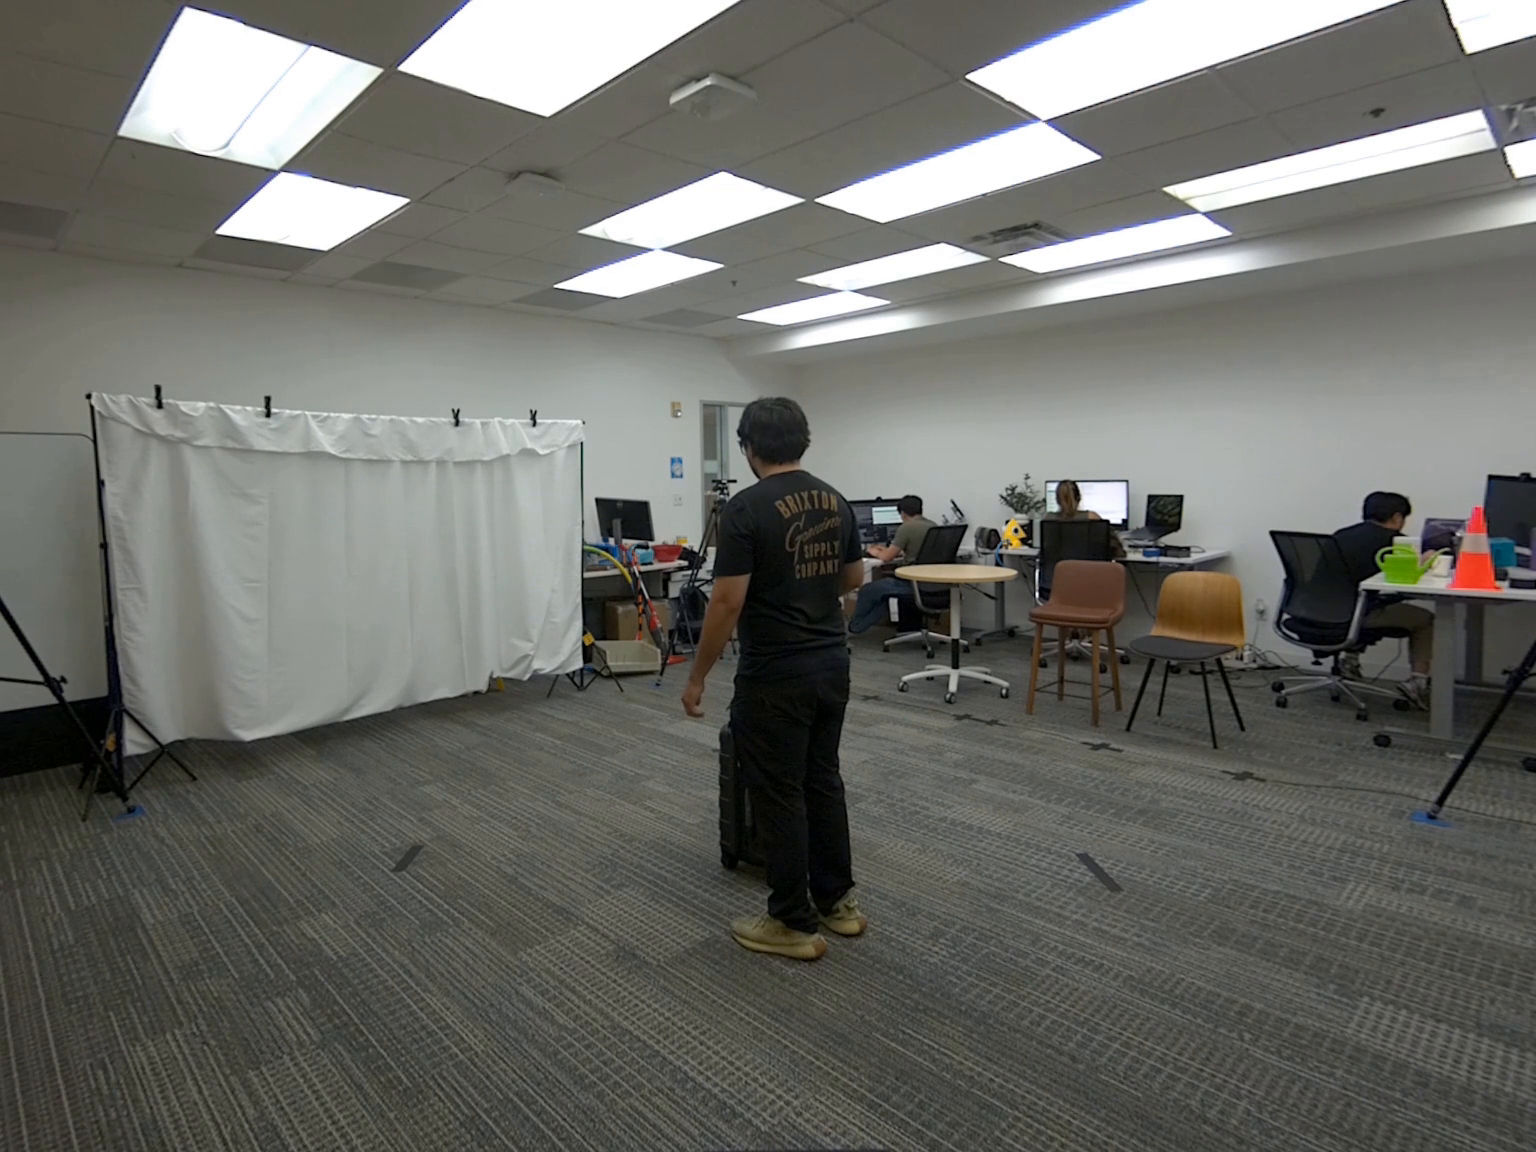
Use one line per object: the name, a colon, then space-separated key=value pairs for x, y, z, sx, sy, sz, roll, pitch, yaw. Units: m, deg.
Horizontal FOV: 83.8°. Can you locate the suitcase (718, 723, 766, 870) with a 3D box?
suitcase: x=0.013 y=0.572 z=3.096 sx=0.264 sy=0.978 sz=0.374 roll=-2 pitch=2 yaw=42
